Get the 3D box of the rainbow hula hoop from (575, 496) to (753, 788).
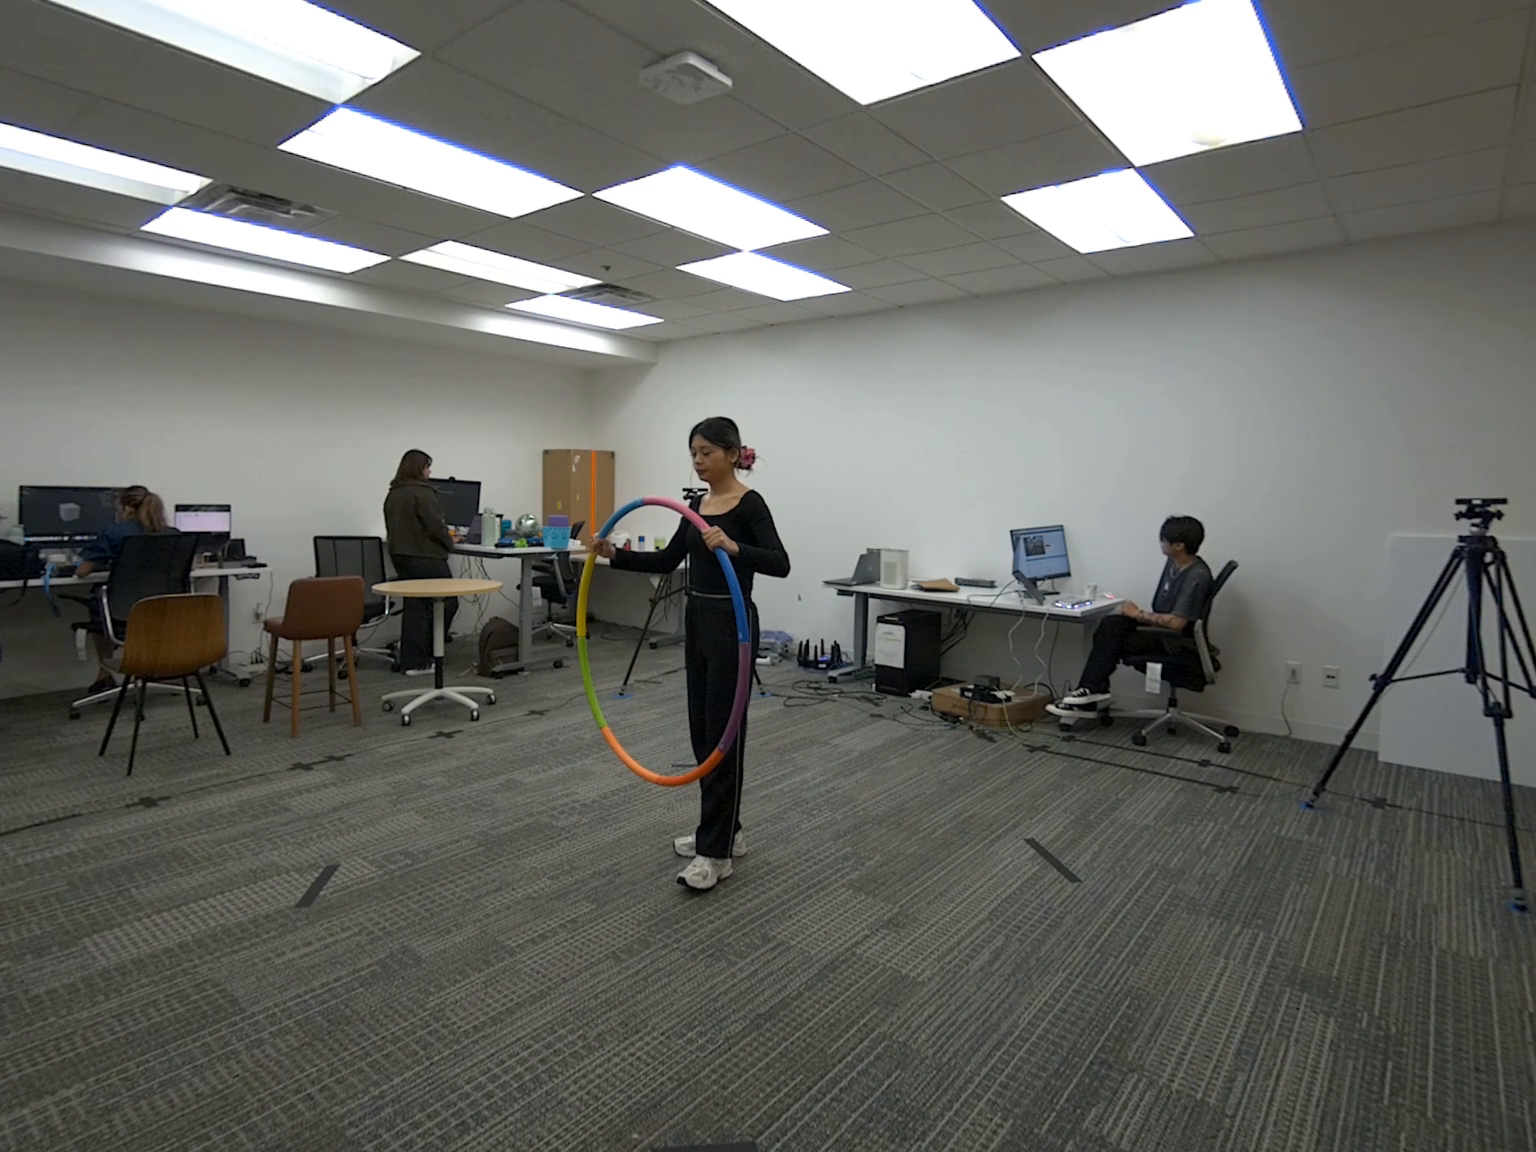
[{"bbox_3d":[-0.415,0.217,2.965,0.034,0.976,1.012,-1,4,-43],"label":"rainbow hula hoop"}]
